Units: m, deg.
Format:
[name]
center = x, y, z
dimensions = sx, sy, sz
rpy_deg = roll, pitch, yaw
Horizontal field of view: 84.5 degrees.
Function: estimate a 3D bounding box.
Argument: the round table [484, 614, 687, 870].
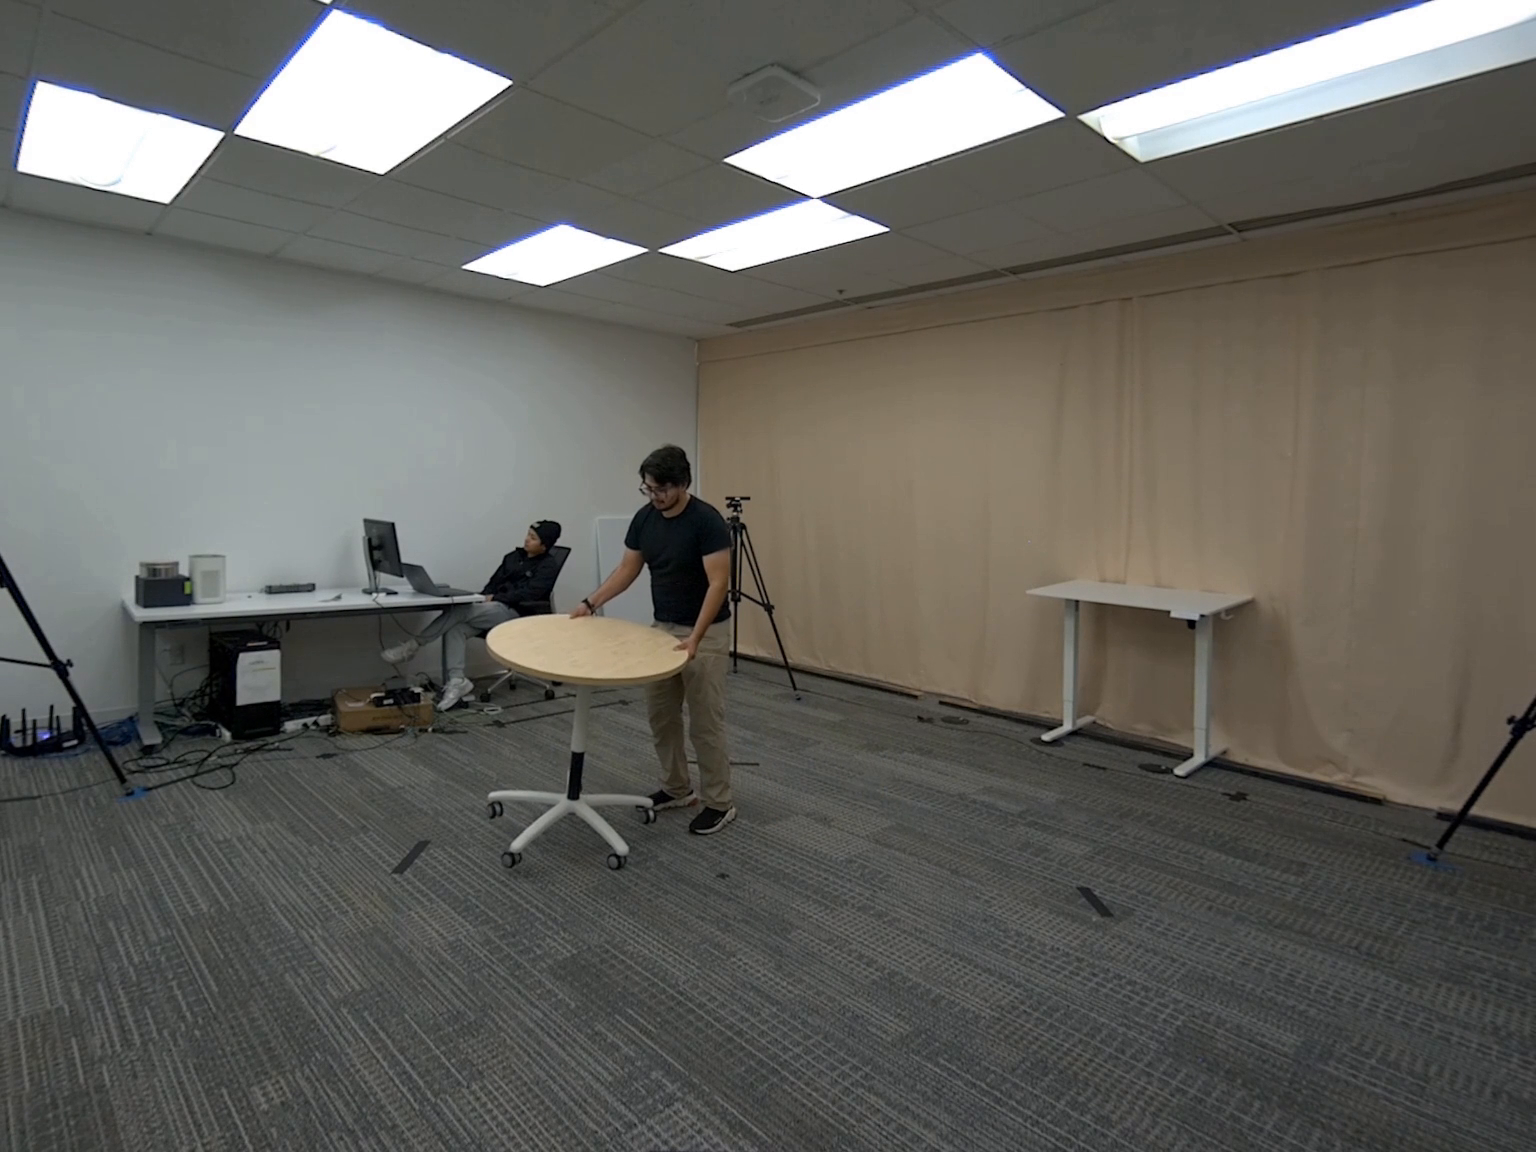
[round table]
center = -0.762, 0.634, 3.309
dimensions = 0.784, 0.781, 0.792
rpy_deg = 7, 11, -3
